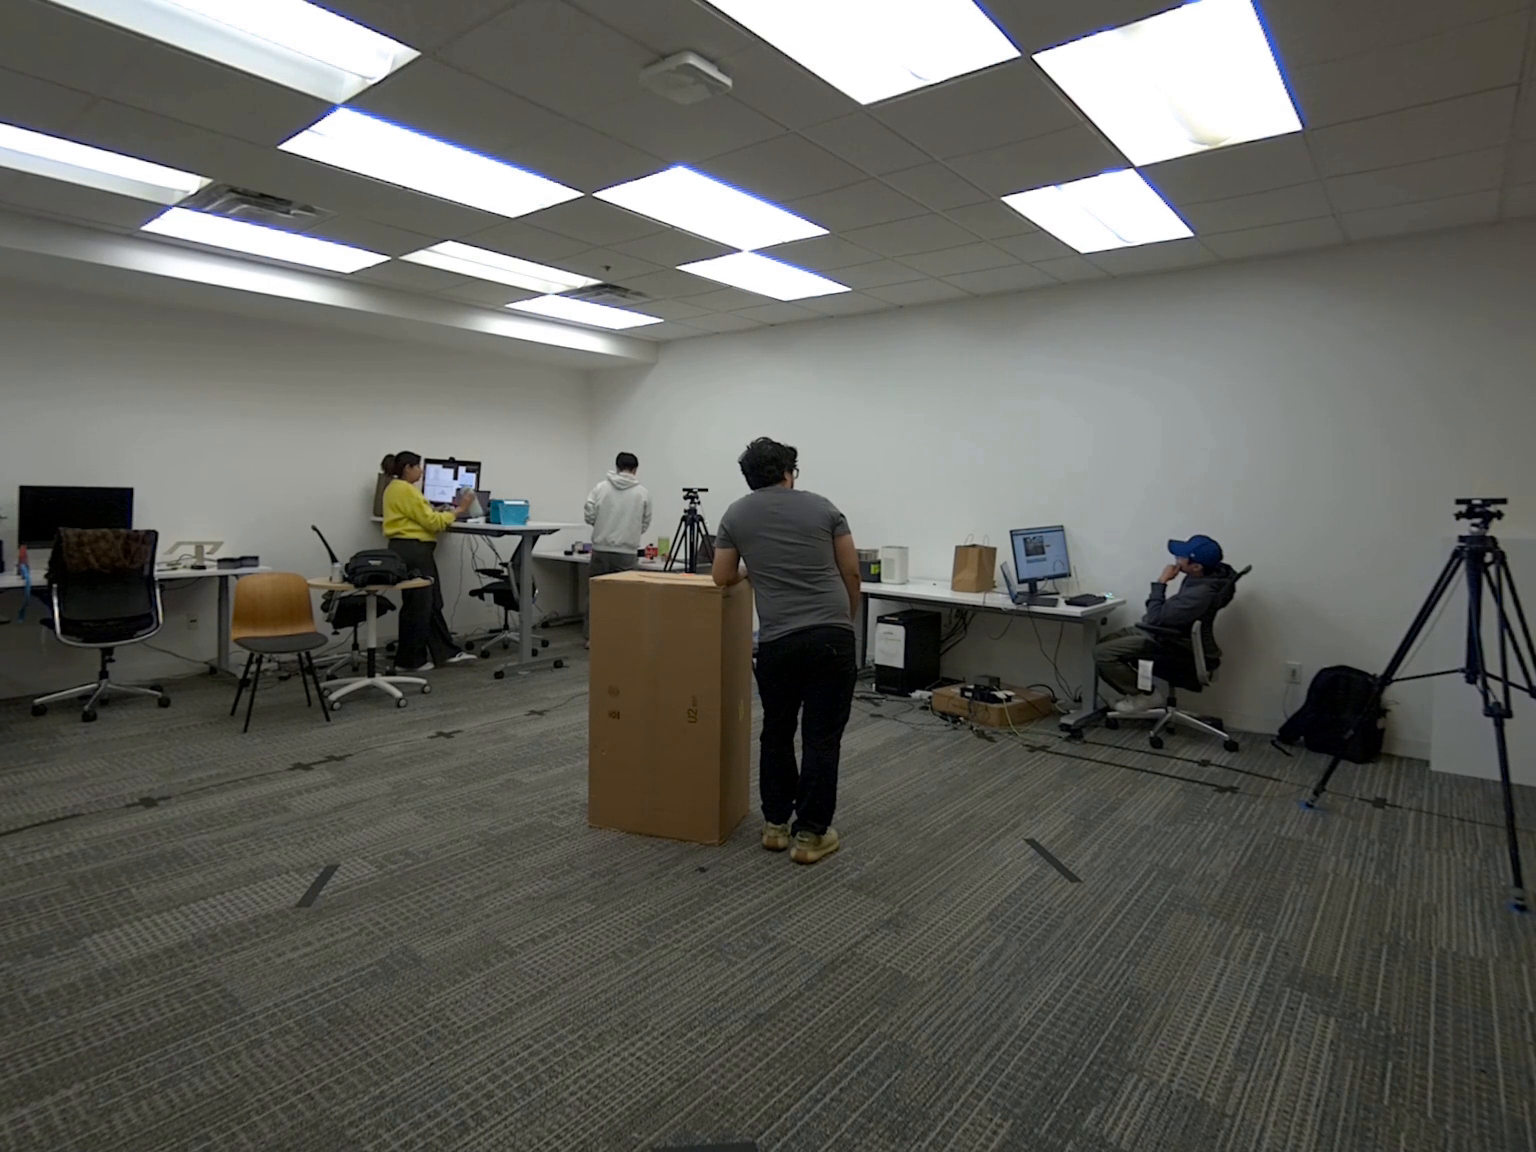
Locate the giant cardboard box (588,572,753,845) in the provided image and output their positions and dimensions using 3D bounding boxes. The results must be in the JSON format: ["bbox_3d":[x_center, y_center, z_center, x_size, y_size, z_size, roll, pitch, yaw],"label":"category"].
[{"bbox_3d":[-0.418,0.512,3.586,0.589,1.023,0.419,2,3,19],"label":"giant cardboard box"}]
